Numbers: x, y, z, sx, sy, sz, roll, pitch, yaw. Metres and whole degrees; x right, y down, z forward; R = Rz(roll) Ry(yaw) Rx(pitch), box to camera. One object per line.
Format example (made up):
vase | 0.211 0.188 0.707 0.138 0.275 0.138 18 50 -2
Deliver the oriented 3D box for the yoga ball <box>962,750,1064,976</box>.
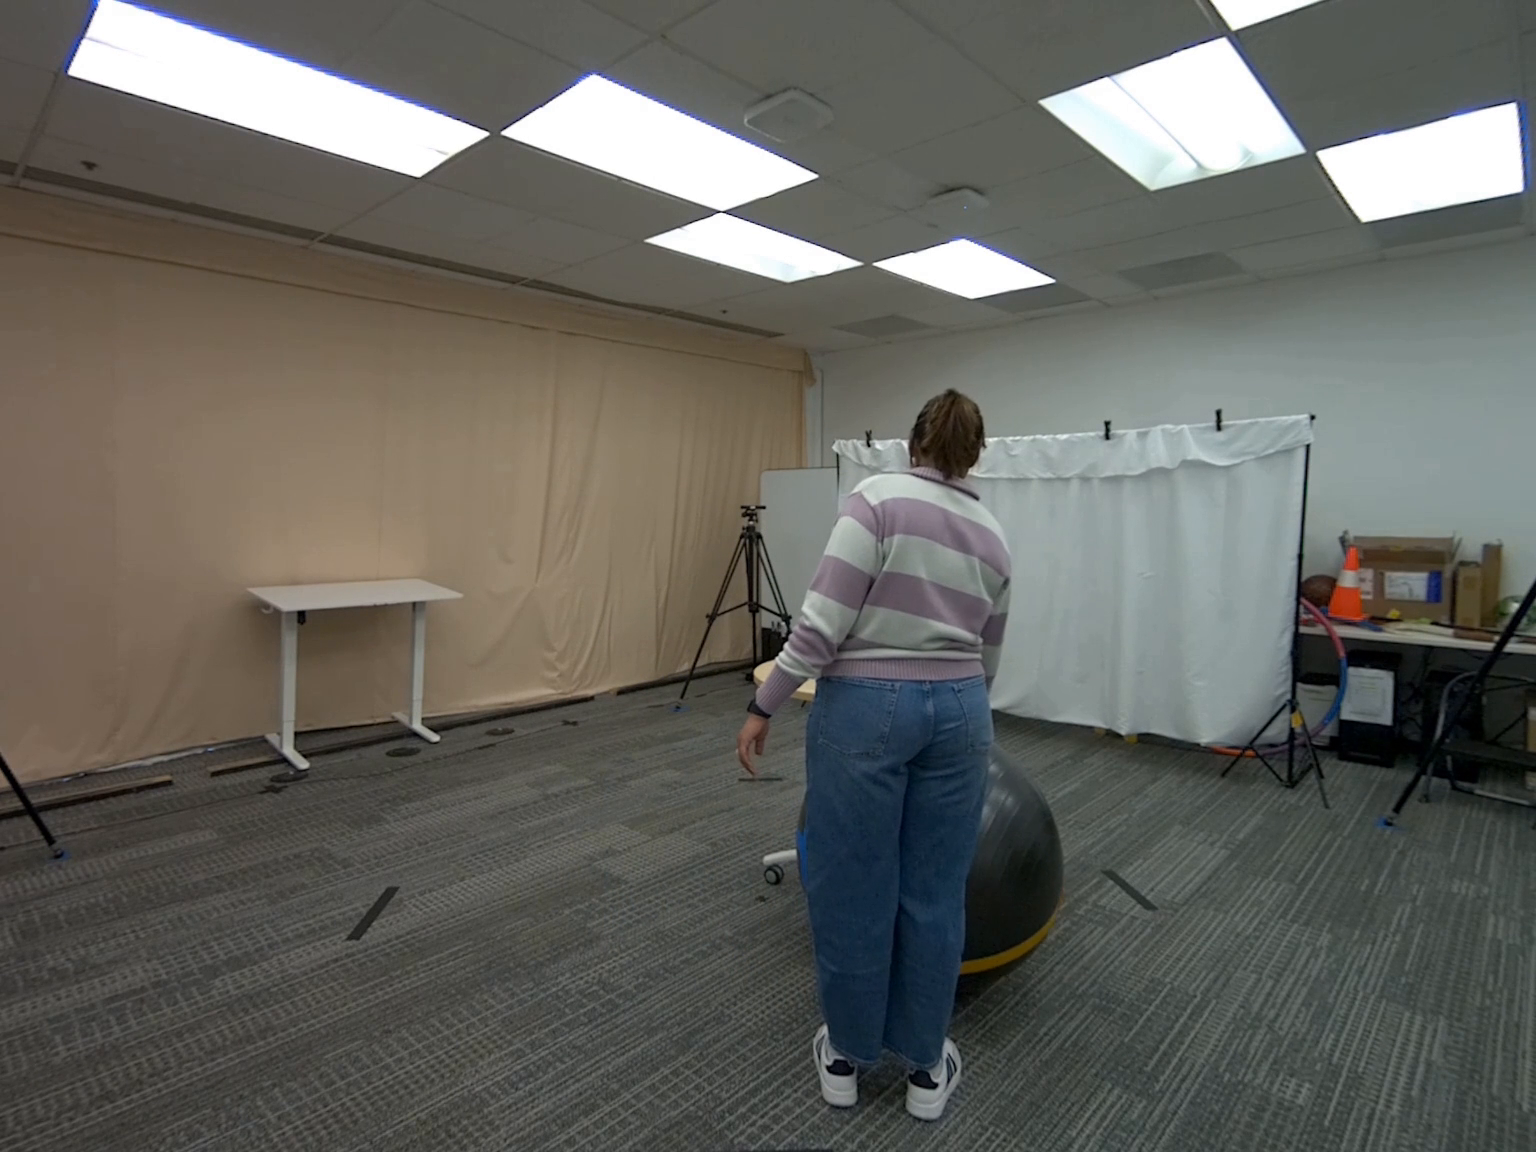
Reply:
yoga ball | 0.473 0.817 2.491 0.757 0.756 0.760 0 4 -2
